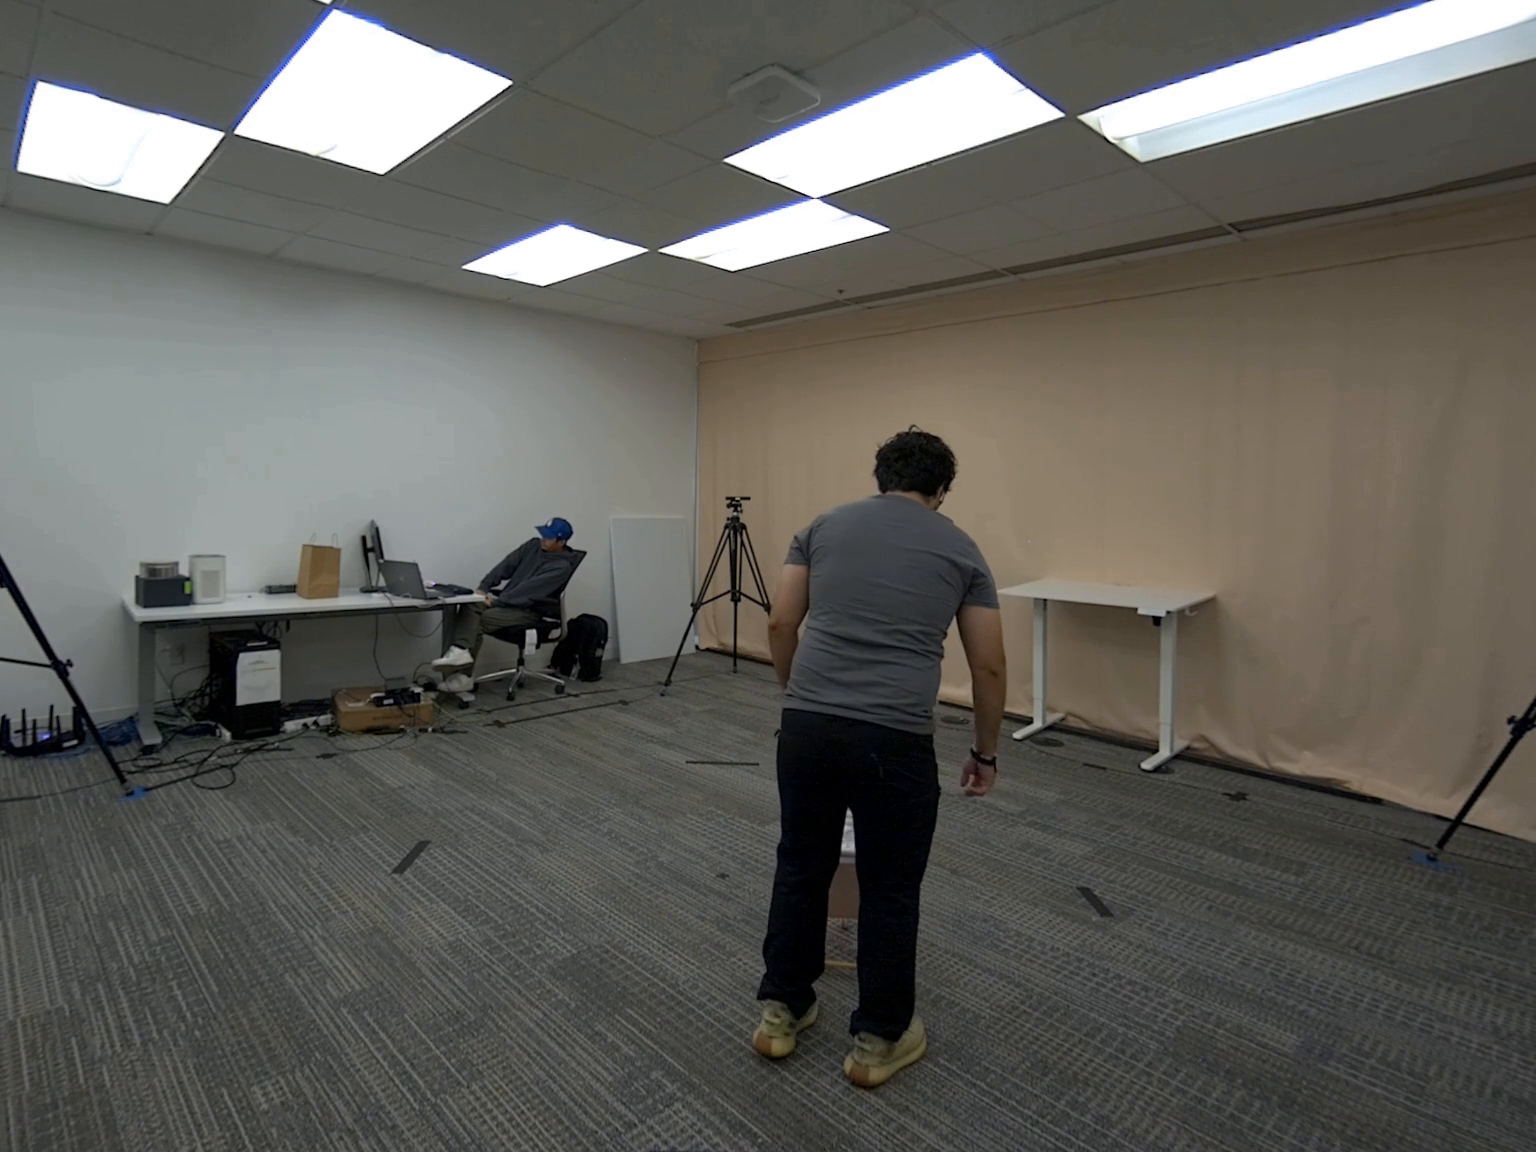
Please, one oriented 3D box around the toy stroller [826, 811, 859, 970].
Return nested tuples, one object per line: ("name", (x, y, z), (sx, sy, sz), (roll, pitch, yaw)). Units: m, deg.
("toy stroller", (0.232, 0.945, 2.554), (0.284, 0.527, 0.343), (3, 20, 8))
